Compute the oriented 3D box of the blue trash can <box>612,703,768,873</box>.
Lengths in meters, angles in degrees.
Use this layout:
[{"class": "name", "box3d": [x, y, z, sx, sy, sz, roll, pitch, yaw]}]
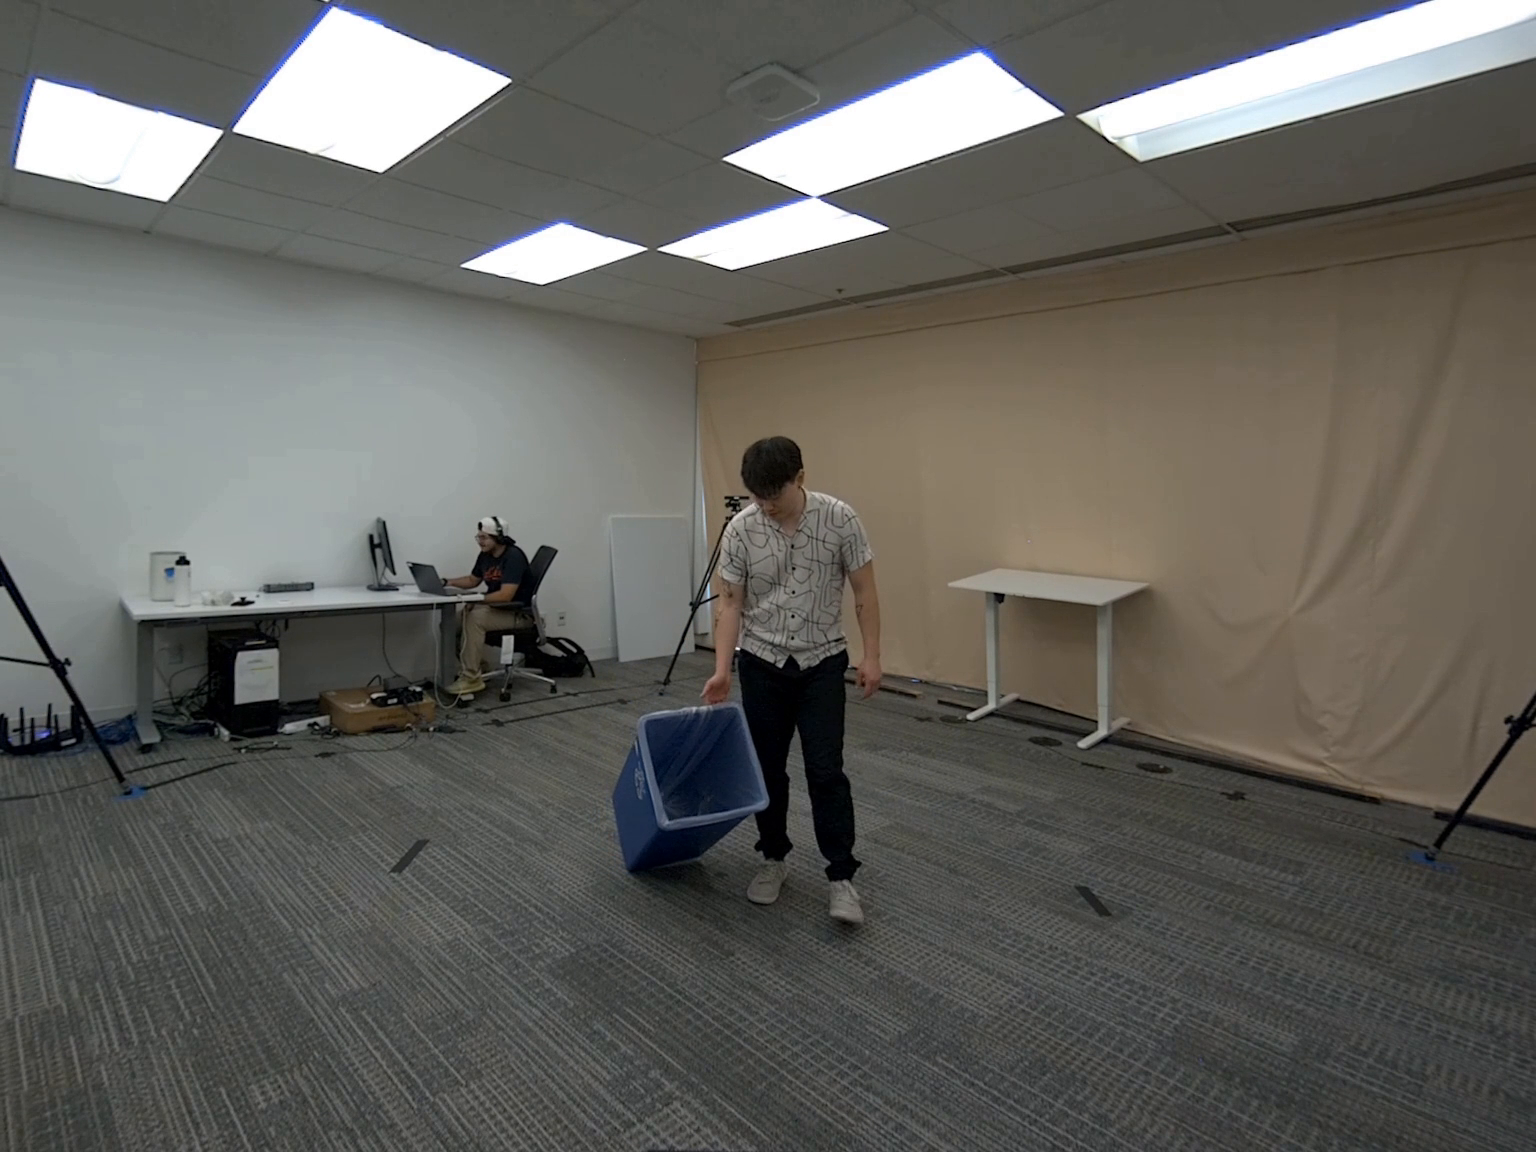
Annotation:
[{"class": "blue trash can", "box3d": [-0.320, 0.782, 2.950, 0.372, 0.383, 0.707, -4, -31, -23]}]
